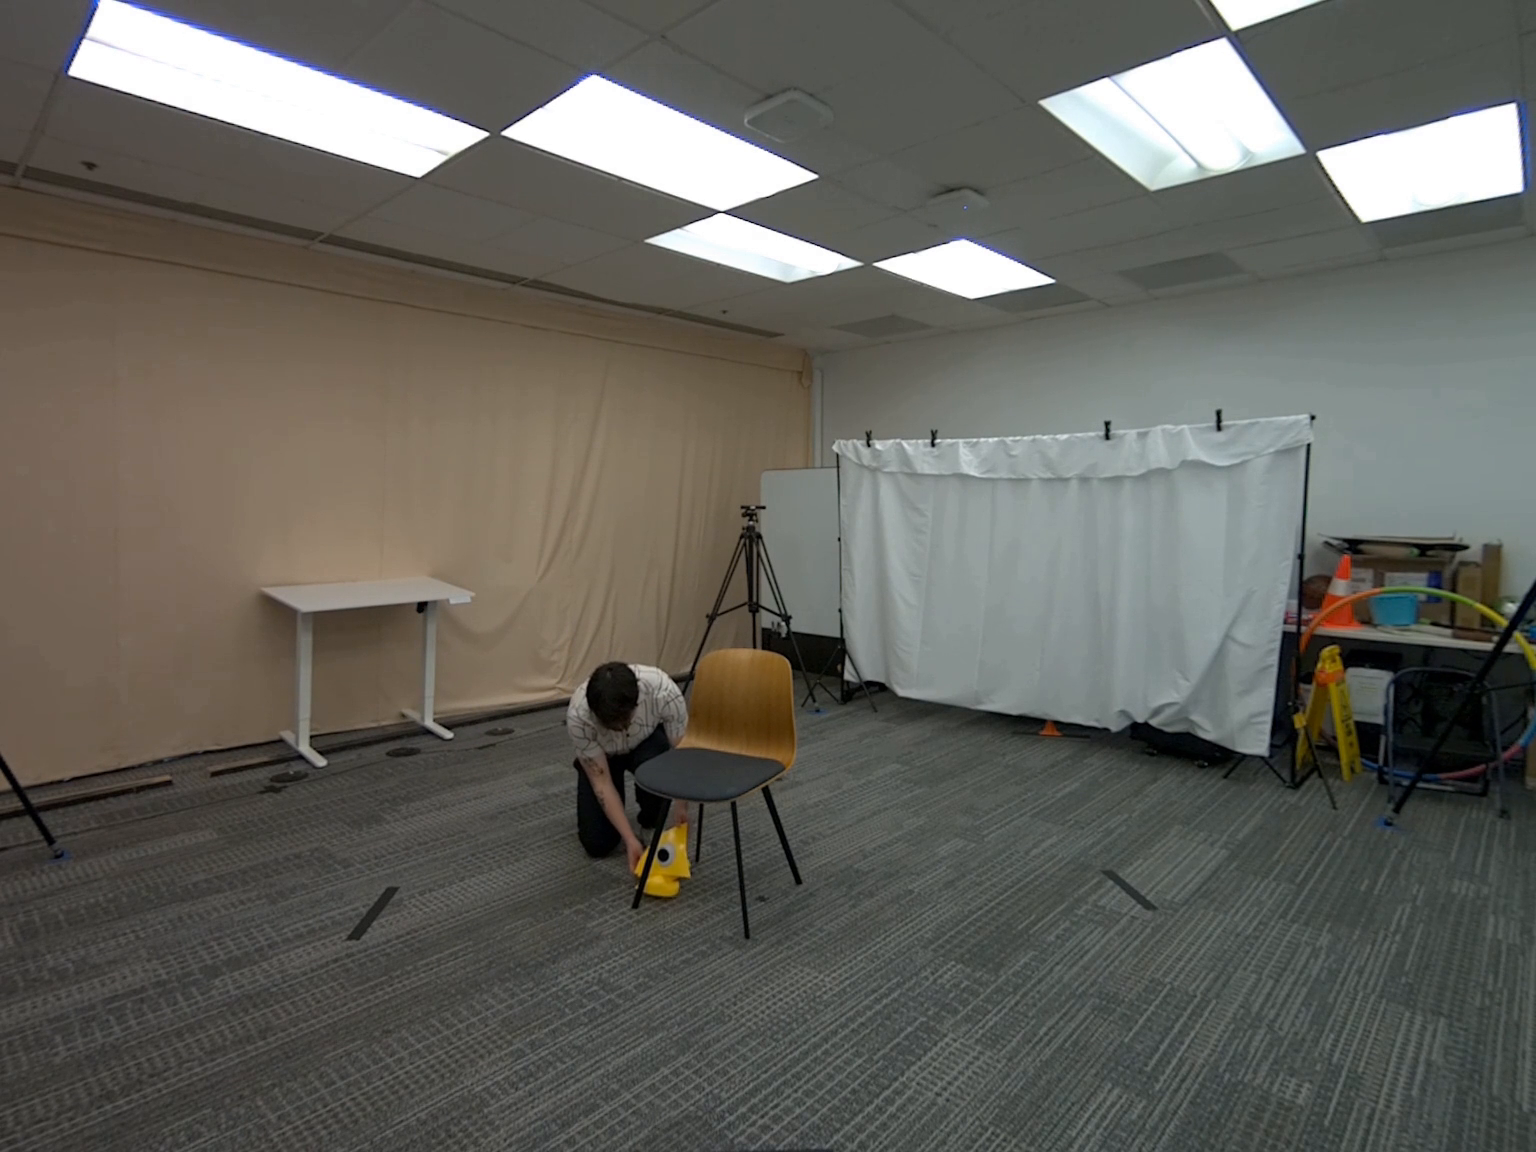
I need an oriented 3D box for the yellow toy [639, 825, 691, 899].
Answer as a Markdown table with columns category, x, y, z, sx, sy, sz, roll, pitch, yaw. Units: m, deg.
| category | x | y | z | sx | sy | sz | roll | pitch | yaw |
| --- | --- | --- | --- | --- | --- | --- | --- | --- | --- |
| yellow toy | -0.373 | 1.005 | 3.046 | 0.191 | 0.230 | 0.207 | 9 | 4 | -11 |
